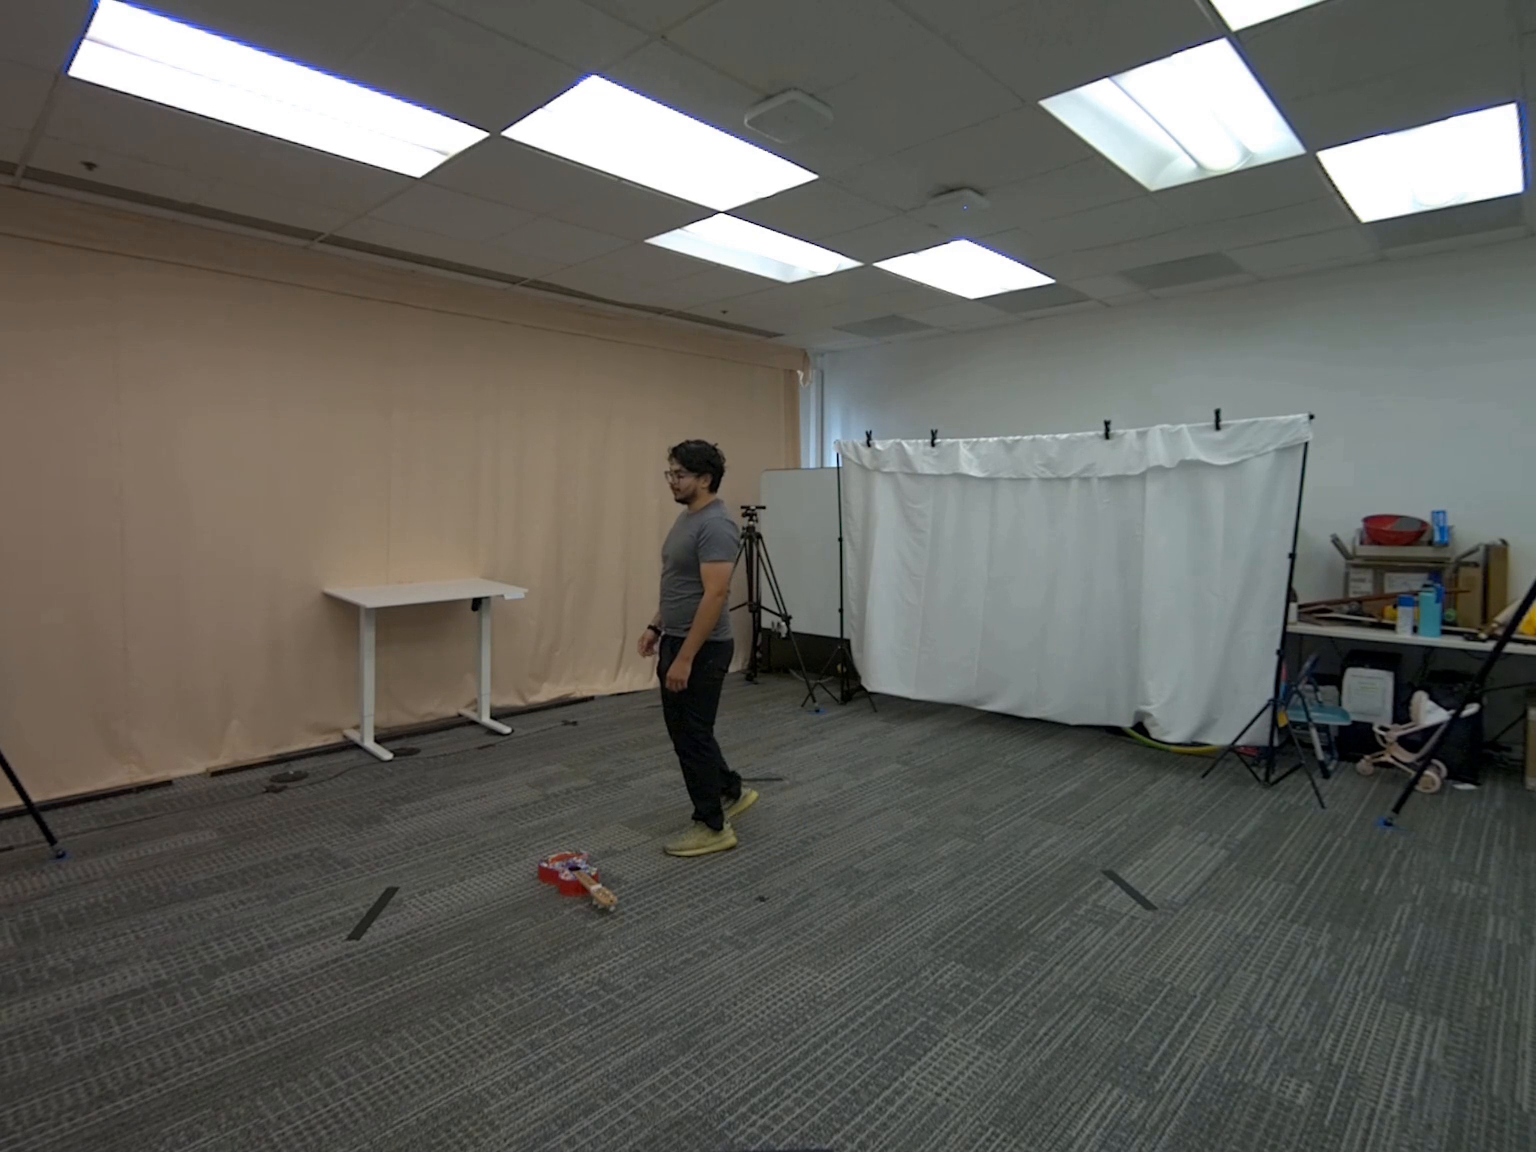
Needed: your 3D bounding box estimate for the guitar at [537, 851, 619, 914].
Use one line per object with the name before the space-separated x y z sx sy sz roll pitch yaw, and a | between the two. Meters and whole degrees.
guitar | -0.696 1.112 3.033 0.188 0.070 0.511 -2 4 -26
